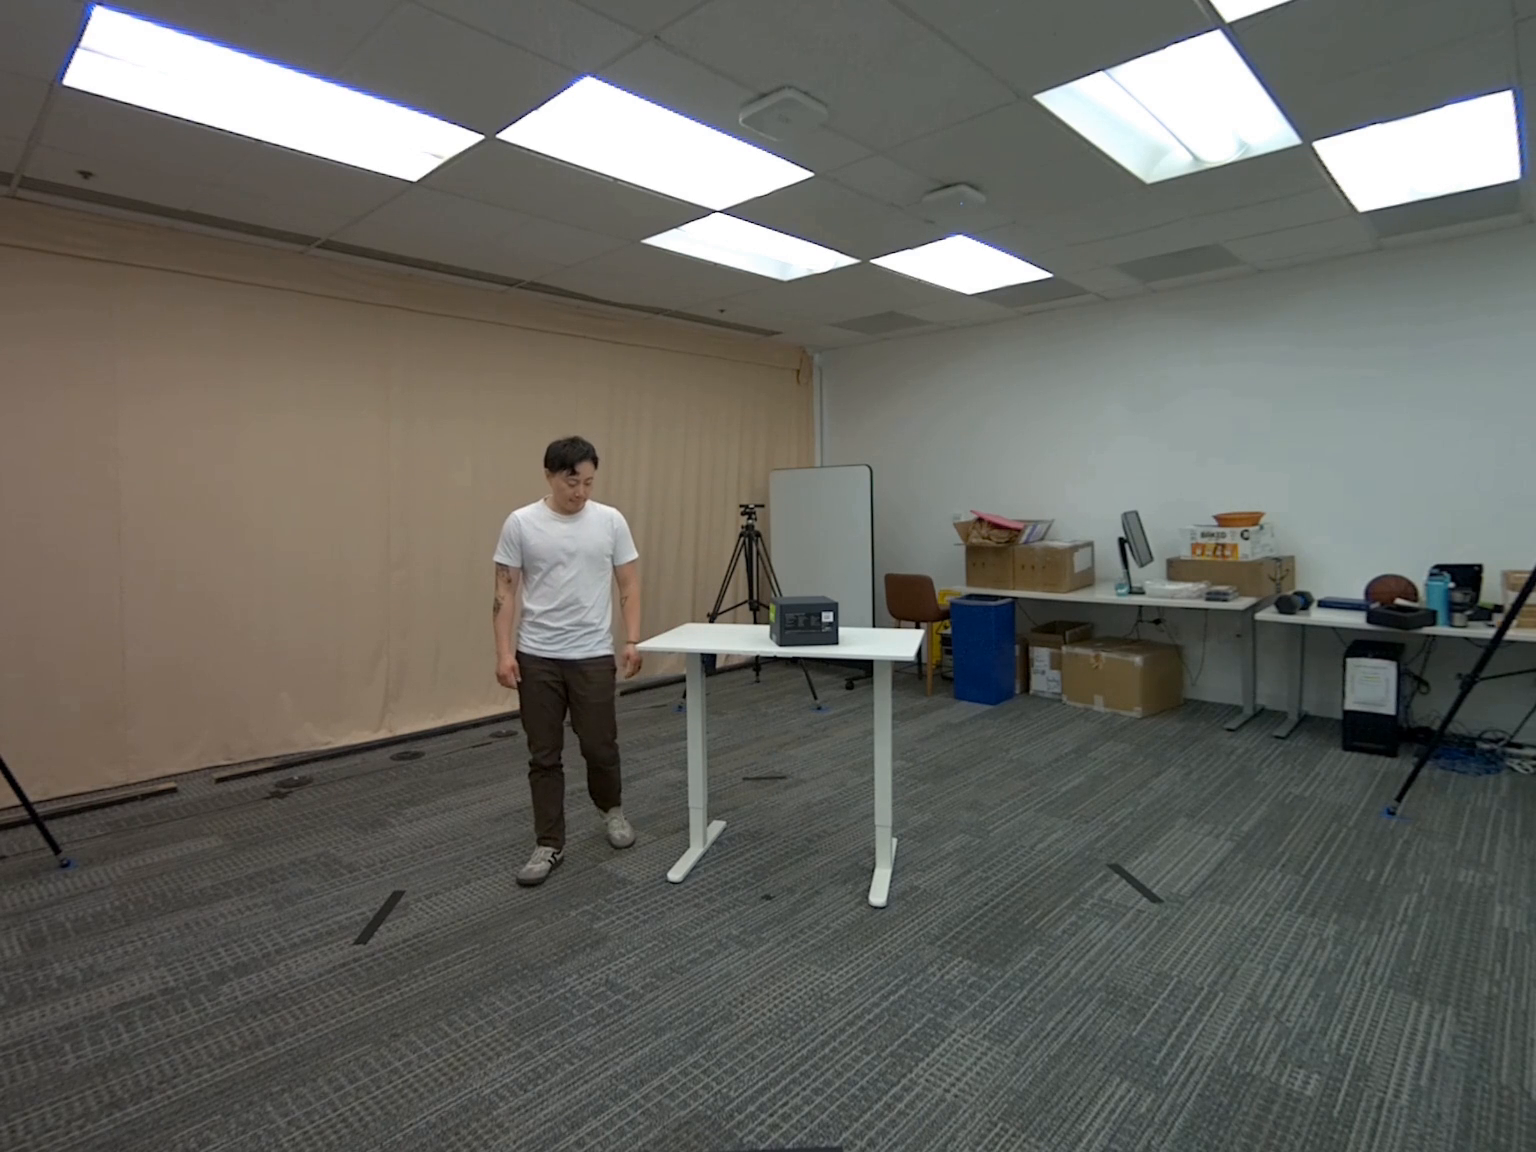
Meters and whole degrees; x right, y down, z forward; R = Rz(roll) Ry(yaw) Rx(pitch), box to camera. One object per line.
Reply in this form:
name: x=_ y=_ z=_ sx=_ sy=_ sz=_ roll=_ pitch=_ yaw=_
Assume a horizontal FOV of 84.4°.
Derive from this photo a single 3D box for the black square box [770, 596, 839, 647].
black square box: x=0.131 y=0.162 z=3.126 sx=0.216 sy=0.155 sz=0.229 roll=-3 pitch=5 yaw=-3
